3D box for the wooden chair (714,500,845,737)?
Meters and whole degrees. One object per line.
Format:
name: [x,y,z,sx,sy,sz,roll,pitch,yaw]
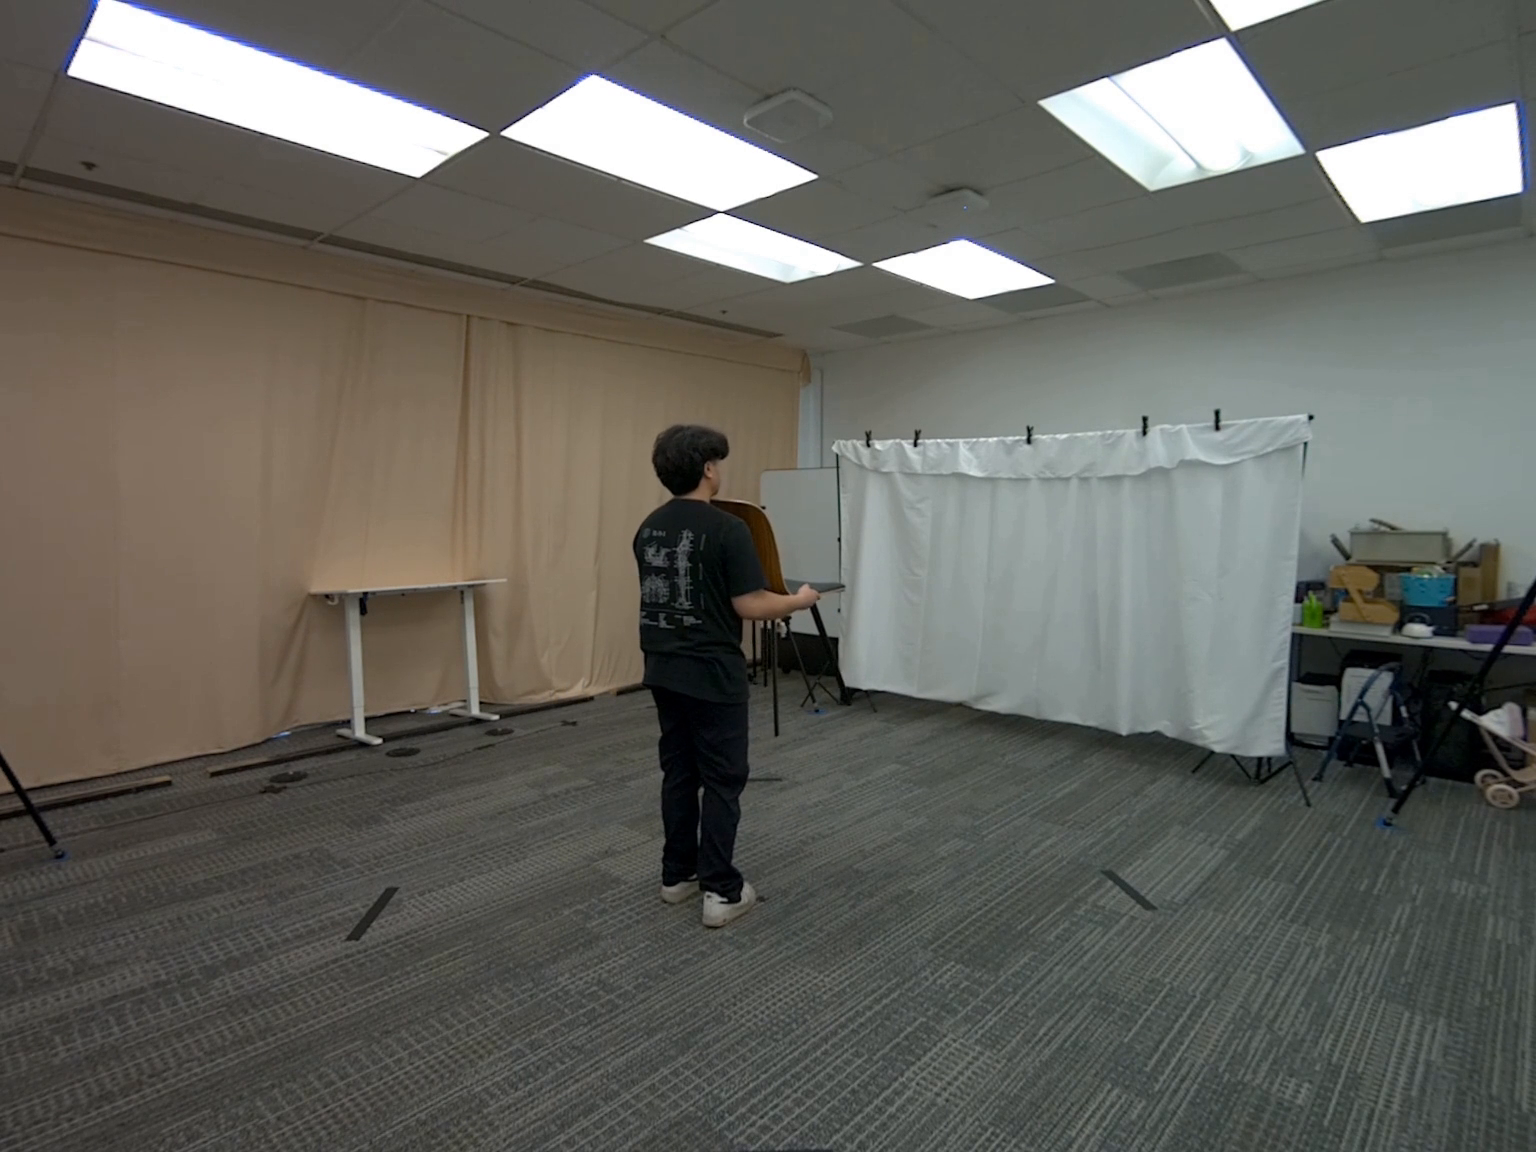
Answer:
wooden chair: [0.007,0.102,3.234,0.494,0.871,0.509,3,13,43]
